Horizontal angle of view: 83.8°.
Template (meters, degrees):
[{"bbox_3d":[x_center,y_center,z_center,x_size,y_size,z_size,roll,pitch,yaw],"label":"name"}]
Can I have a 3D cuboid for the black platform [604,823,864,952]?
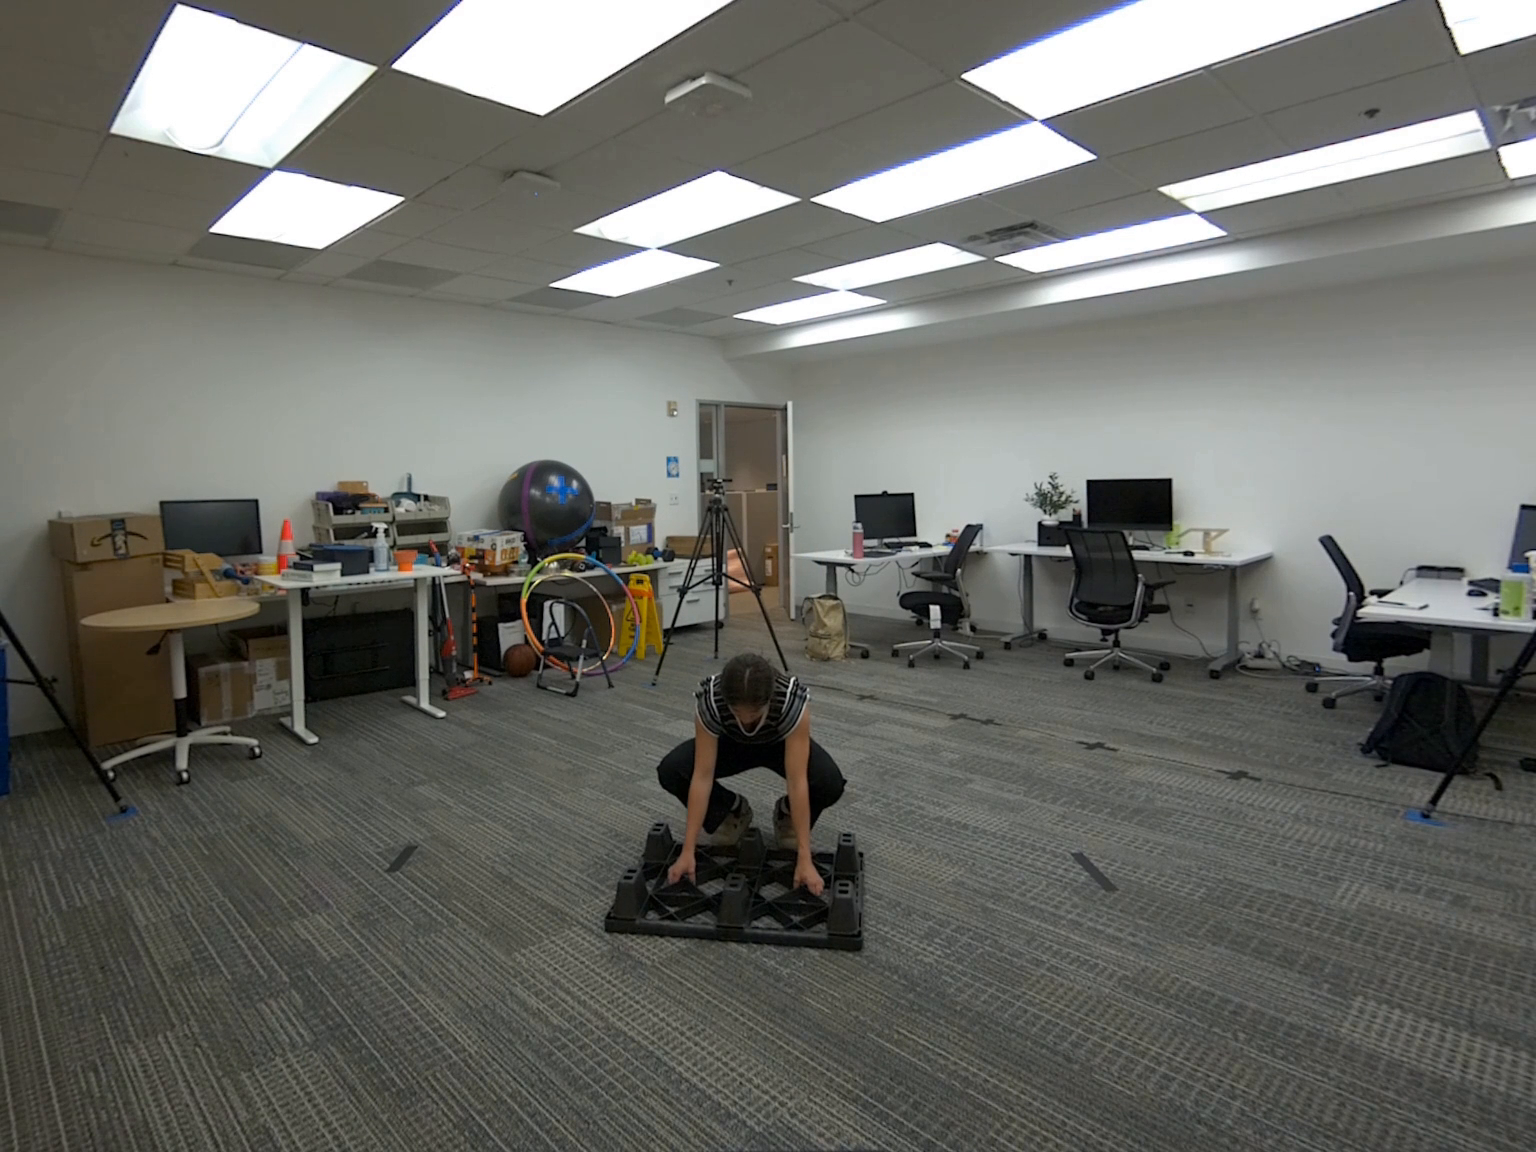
[{"bbox_3d":[-0.084,1.002,2.867,0.813,0.142,0.603,0,6,8],"label":"black platform"}]
